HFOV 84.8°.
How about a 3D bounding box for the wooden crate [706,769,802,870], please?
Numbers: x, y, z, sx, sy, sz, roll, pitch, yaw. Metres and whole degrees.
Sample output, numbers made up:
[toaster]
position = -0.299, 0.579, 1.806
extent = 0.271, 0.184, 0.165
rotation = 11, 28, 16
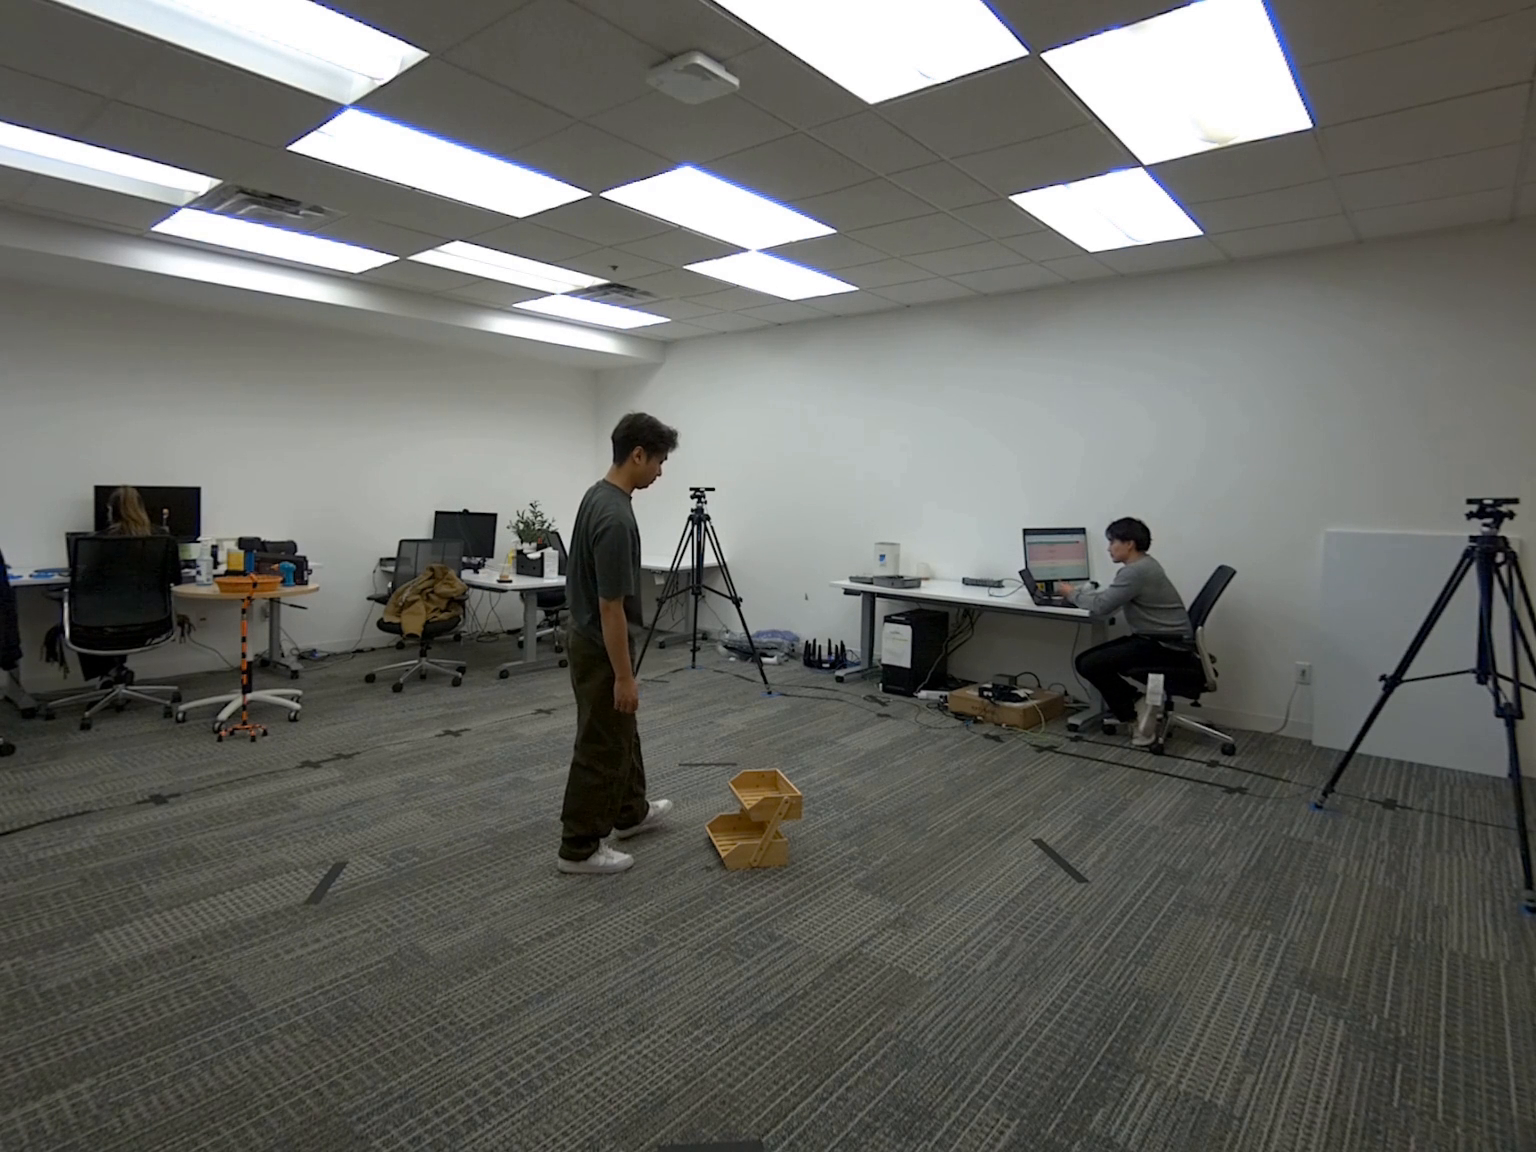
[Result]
[wooden crate]
position = -0.072, 0.932, 3.261
extent = 0.297, 0.272, 0.331
rotation = 2, 4, -15
